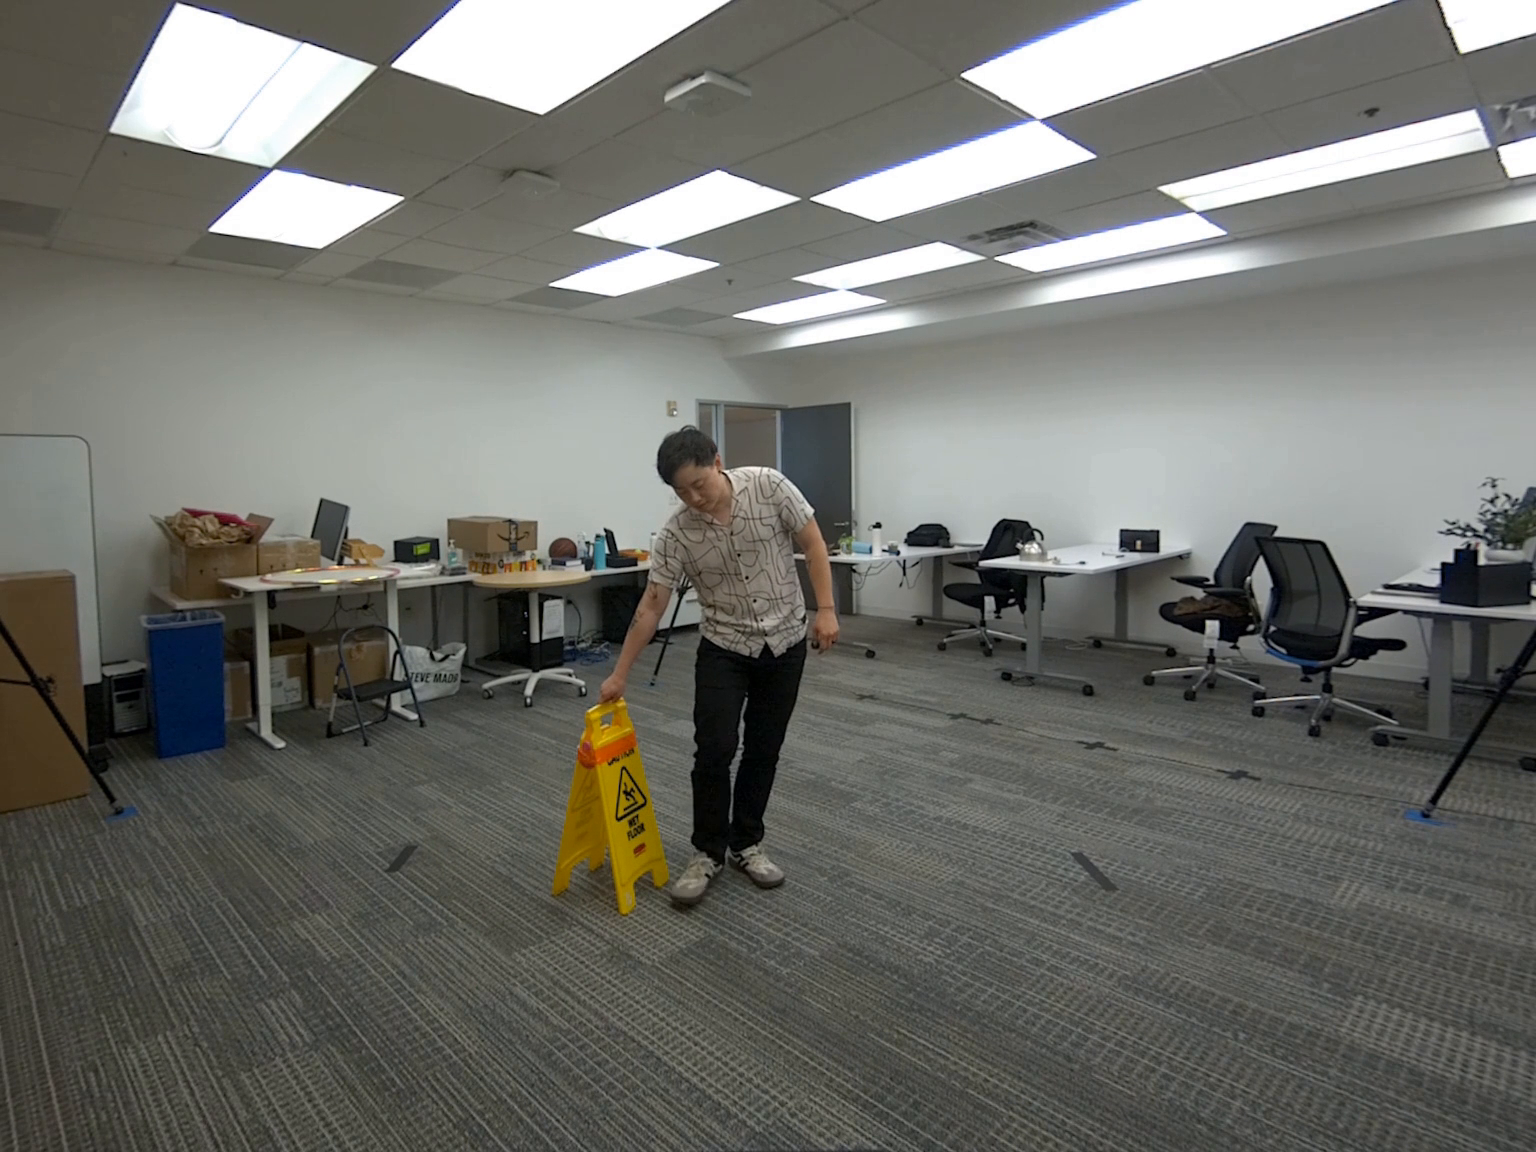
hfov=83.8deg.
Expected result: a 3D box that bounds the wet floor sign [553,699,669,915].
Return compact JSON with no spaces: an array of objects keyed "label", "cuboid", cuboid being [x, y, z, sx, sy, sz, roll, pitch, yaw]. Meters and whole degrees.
[{"label":"wet floor sign","cuboid":[-0.539,0.752,2.914,0.297,0.643,0.277,2,6,28]}]
